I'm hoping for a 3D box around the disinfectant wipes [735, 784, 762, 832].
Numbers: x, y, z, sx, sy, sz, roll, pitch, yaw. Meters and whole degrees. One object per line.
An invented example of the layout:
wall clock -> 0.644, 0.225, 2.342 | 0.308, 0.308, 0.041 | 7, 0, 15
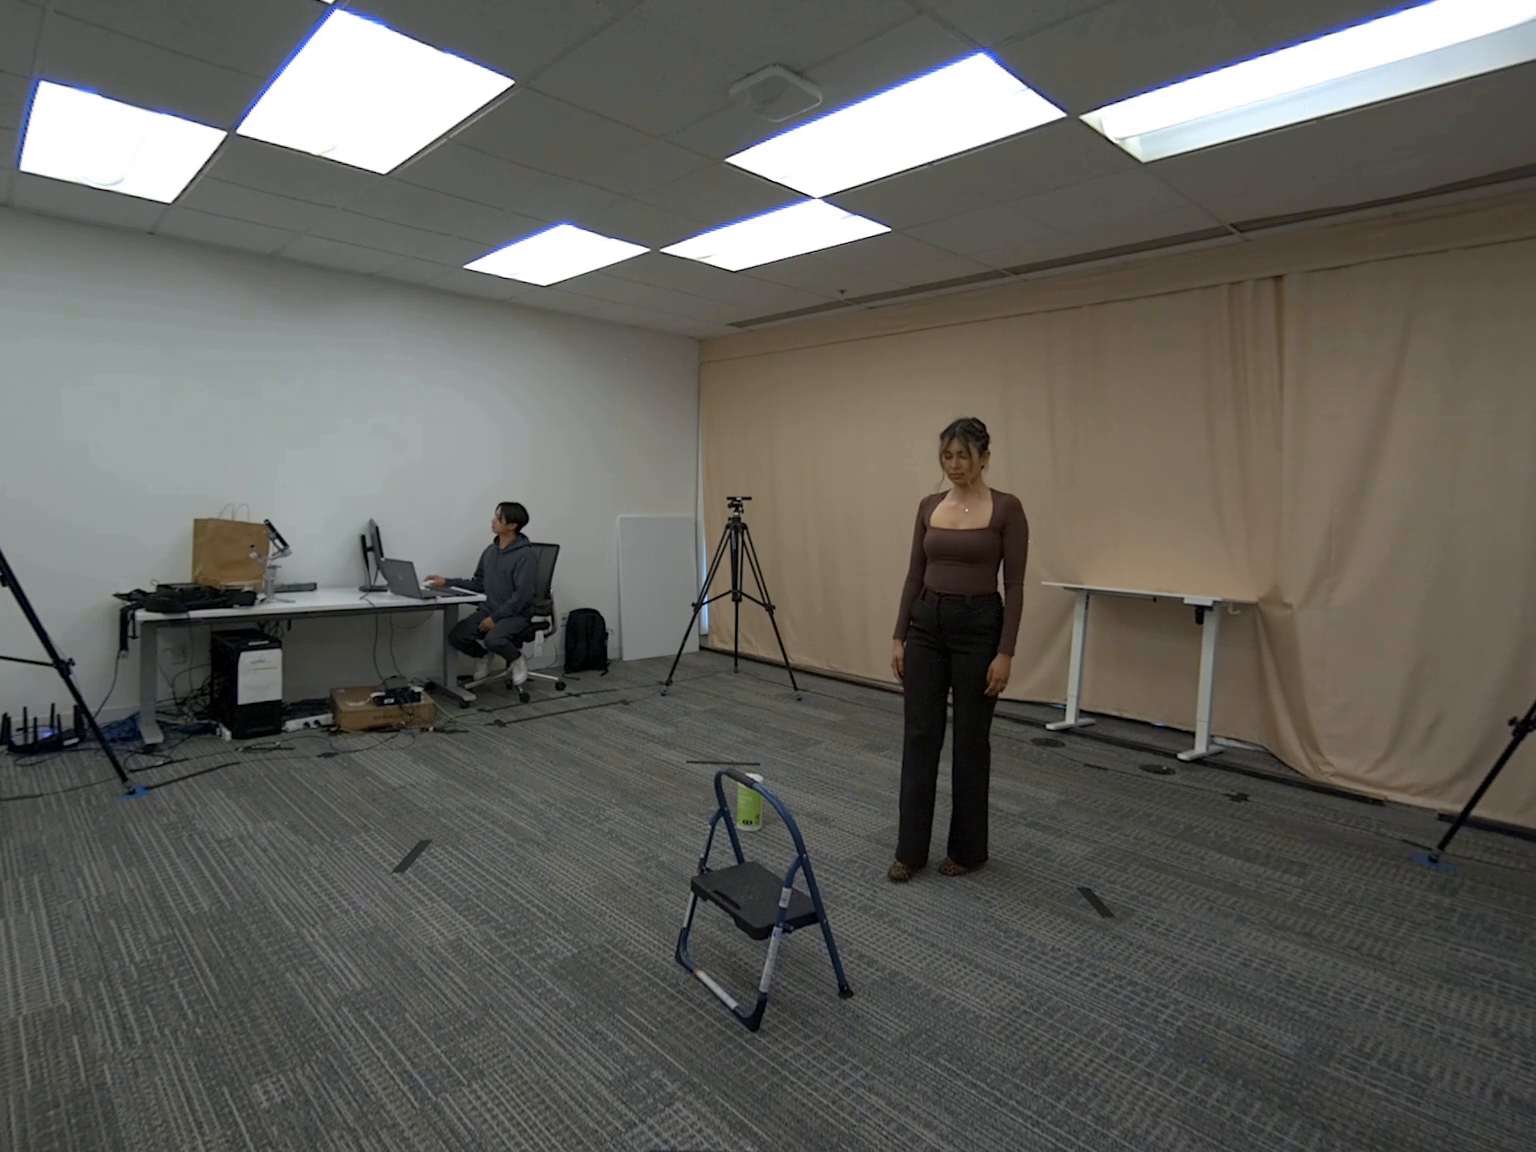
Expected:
disinfectant wipes -> -0.095, 0.961, 3.577 | 0.118, 0.216, 0.118 | 1, 6, -2
